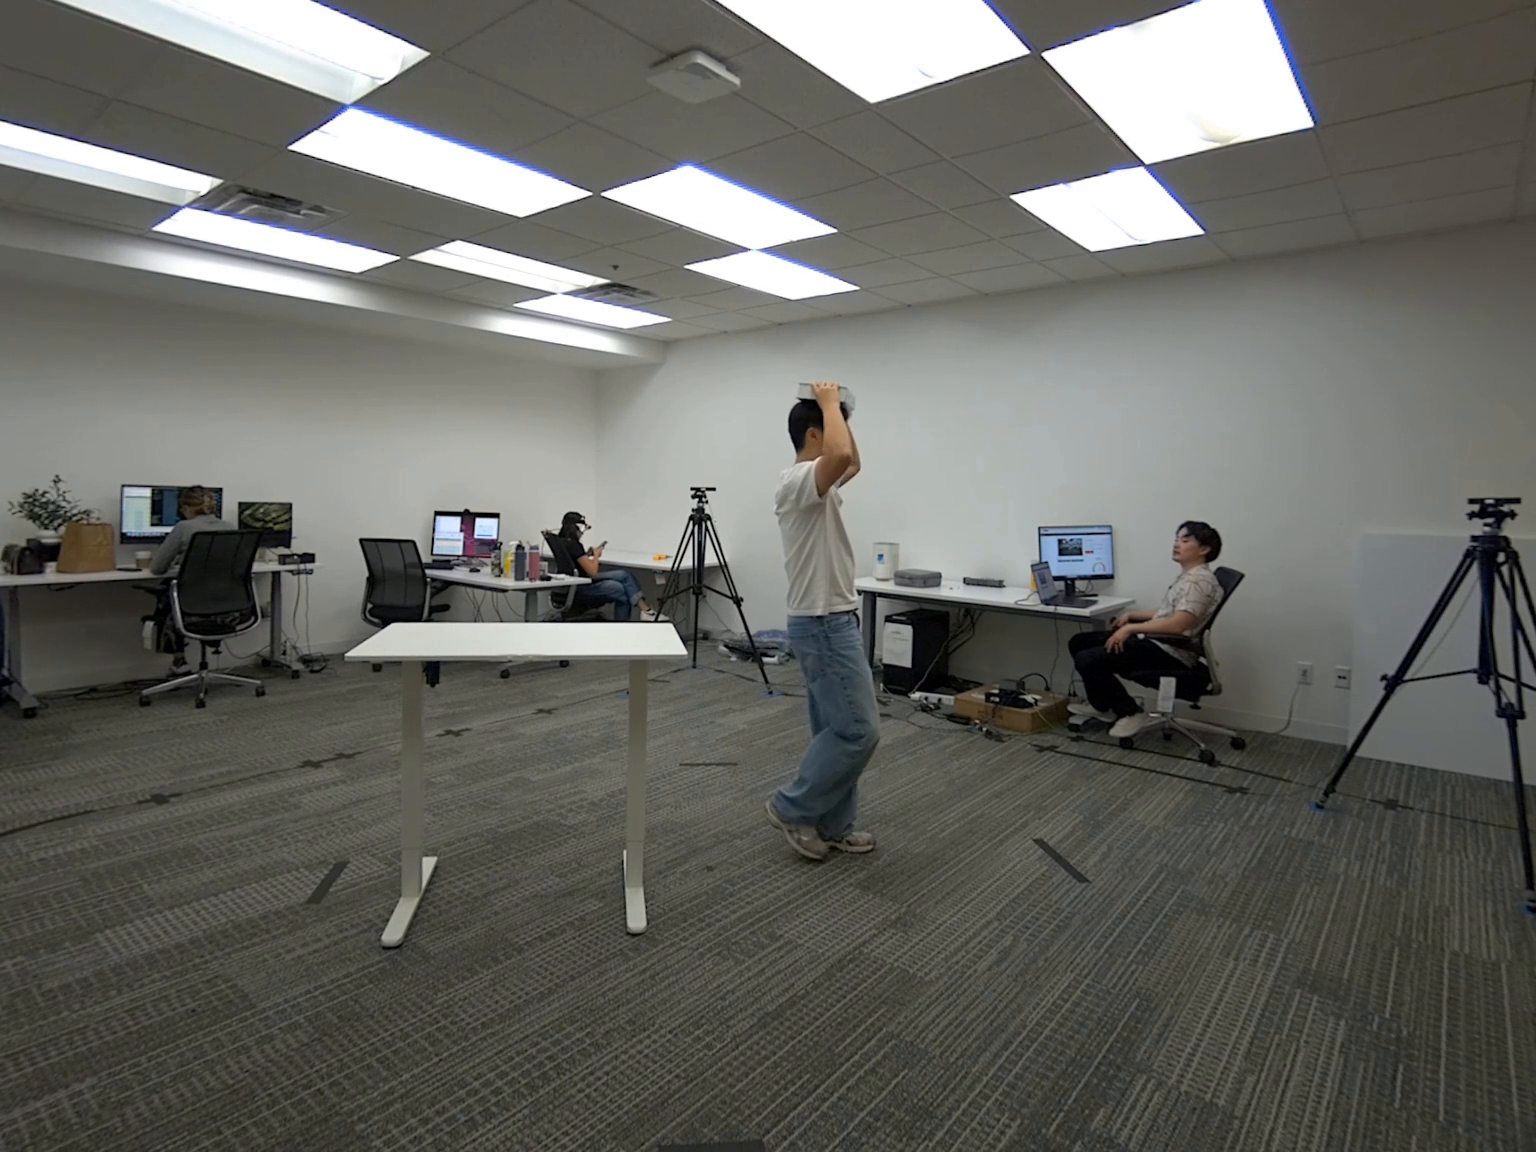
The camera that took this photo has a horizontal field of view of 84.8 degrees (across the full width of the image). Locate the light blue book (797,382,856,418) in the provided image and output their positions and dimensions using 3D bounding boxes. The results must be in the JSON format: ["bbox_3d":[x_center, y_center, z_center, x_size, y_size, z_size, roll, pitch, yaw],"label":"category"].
[{"bbox_3d":[0.211,-0.692,3.255,0.194,0.059,0.258,8,6,12],"label":"light blue book"}]
